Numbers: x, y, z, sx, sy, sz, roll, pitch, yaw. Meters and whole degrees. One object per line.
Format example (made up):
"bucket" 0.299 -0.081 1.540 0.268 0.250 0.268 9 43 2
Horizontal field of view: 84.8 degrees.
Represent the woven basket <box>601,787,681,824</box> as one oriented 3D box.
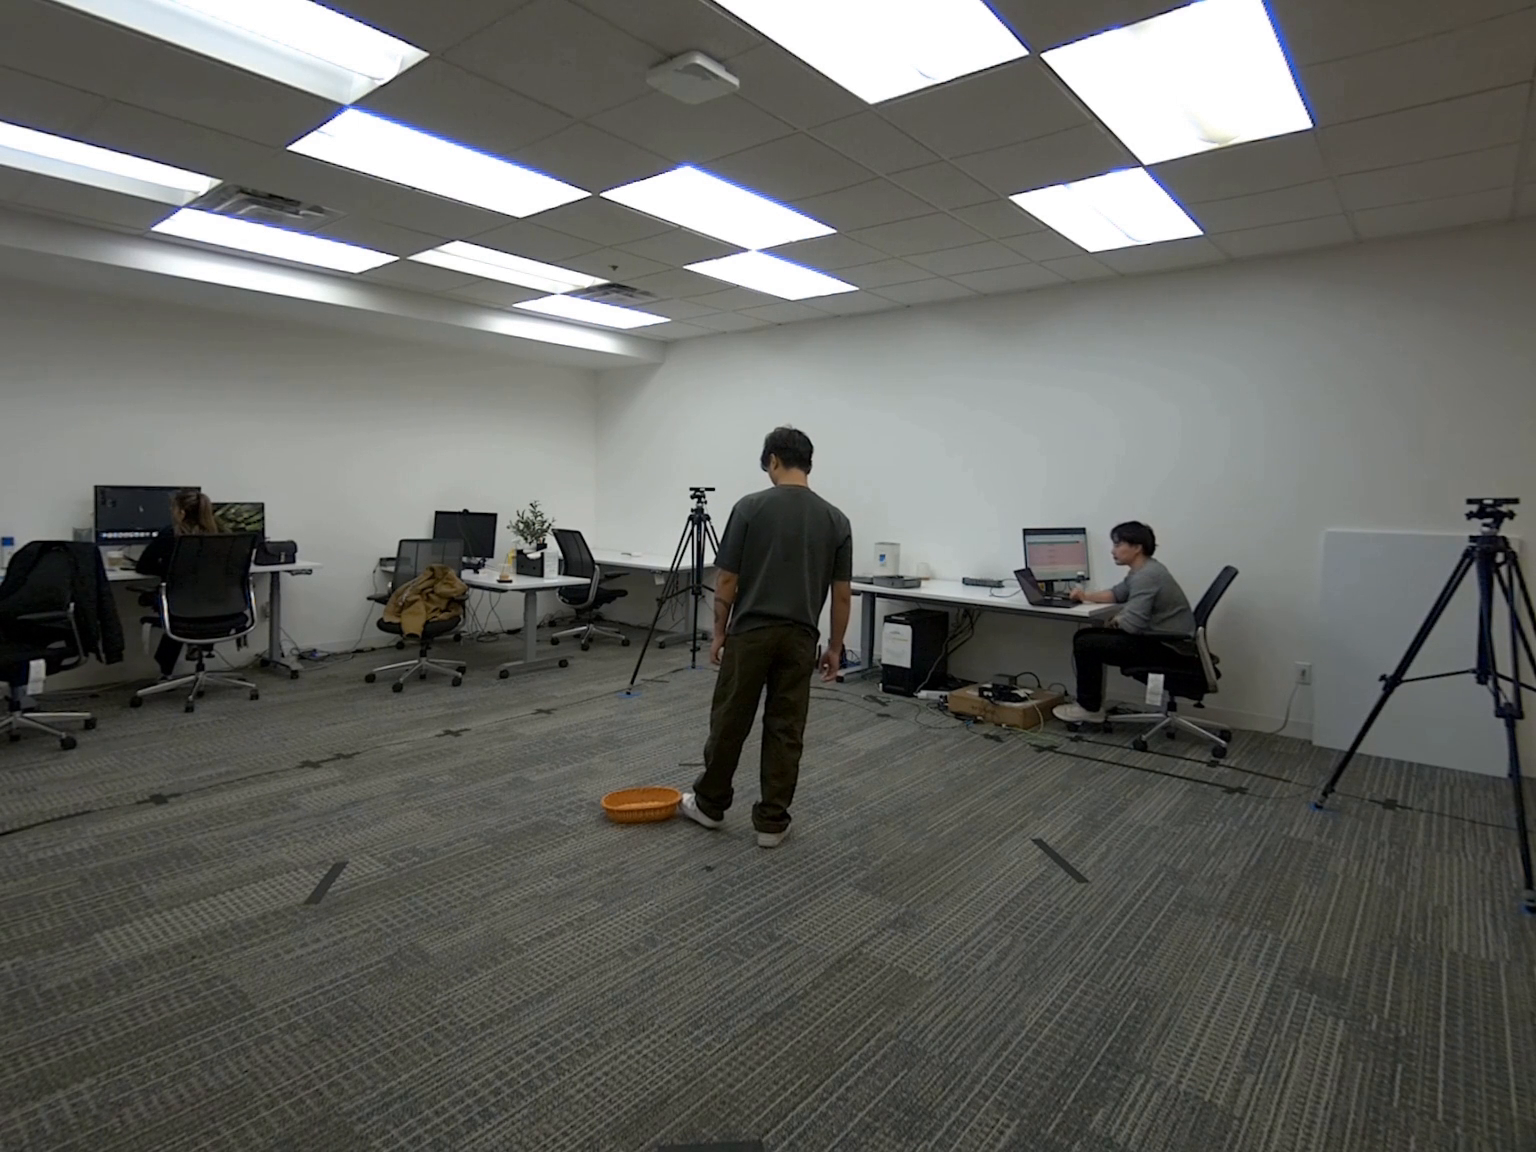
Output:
"woven basket" -0.547 0.967 3.606 0.348 0.073 0.255 -3 6 -6
